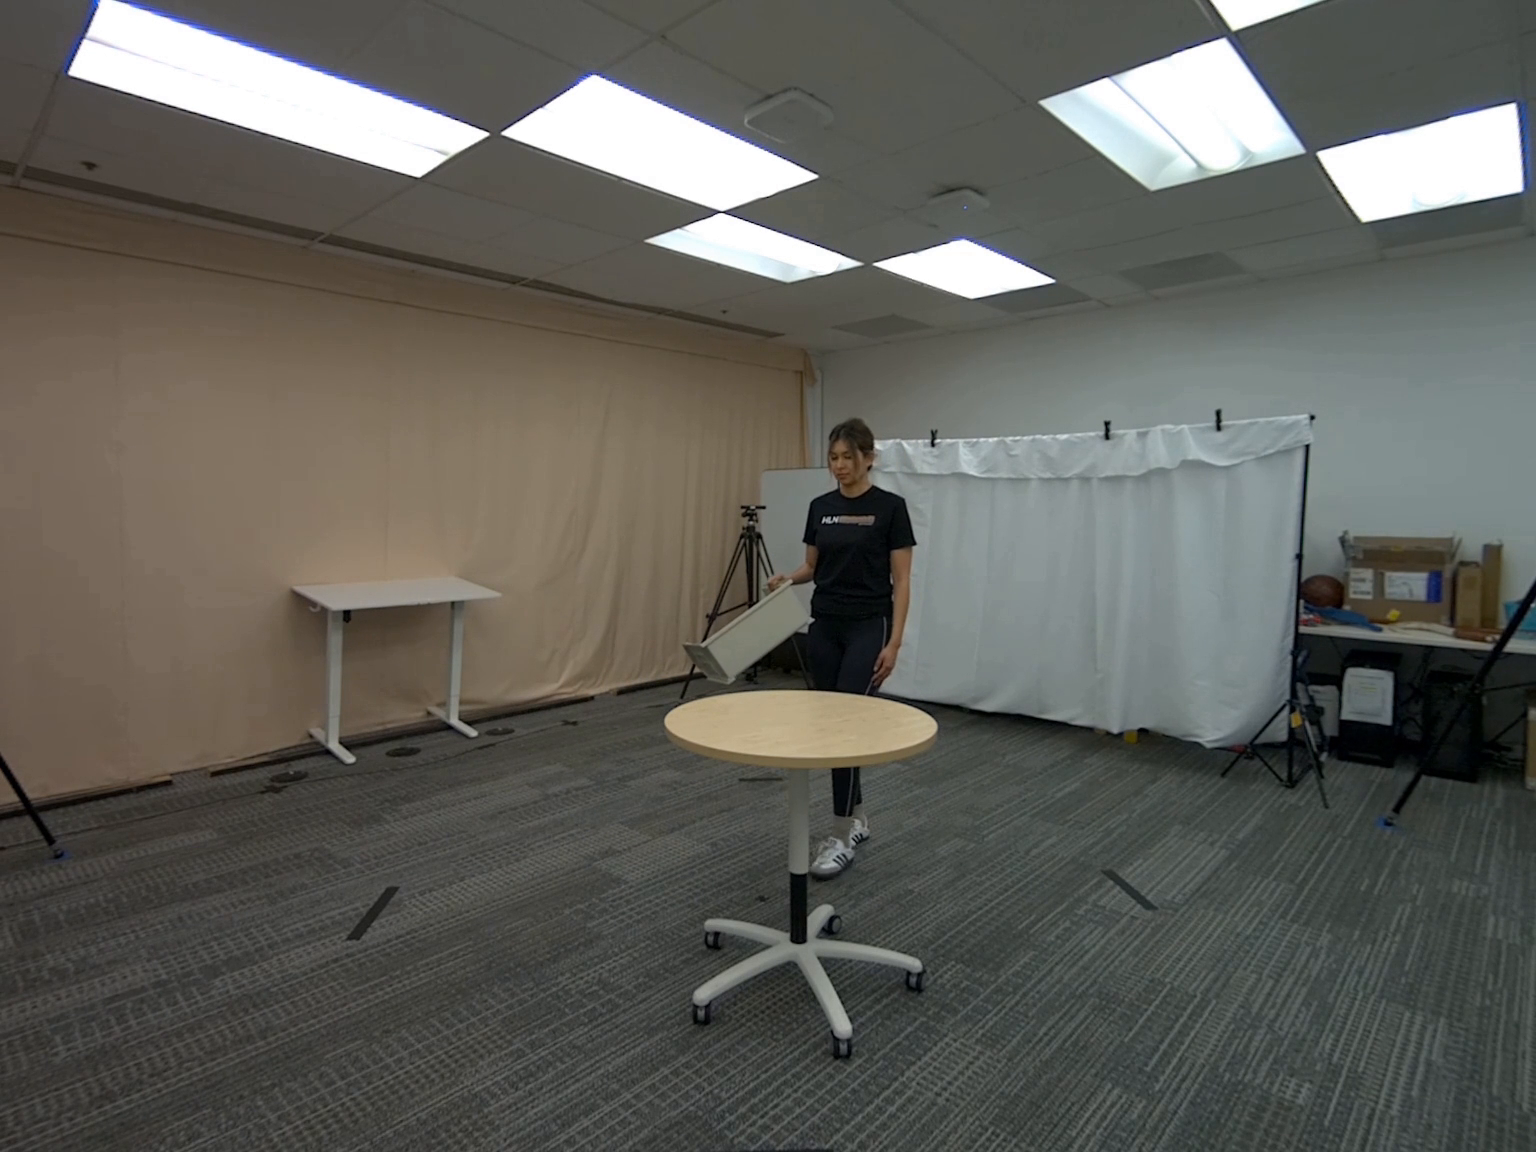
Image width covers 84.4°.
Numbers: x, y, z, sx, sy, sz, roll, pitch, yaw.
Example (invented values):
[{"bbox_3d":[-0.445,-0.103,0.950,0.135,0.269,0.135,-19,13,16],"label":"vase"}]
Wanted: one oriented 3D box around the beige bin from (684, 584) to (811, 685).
[{"bbox_3d":[-0.087,0.213,3.262,0.419,0.187,0.383,-36,9,-16],"label":"beige bin"}]
